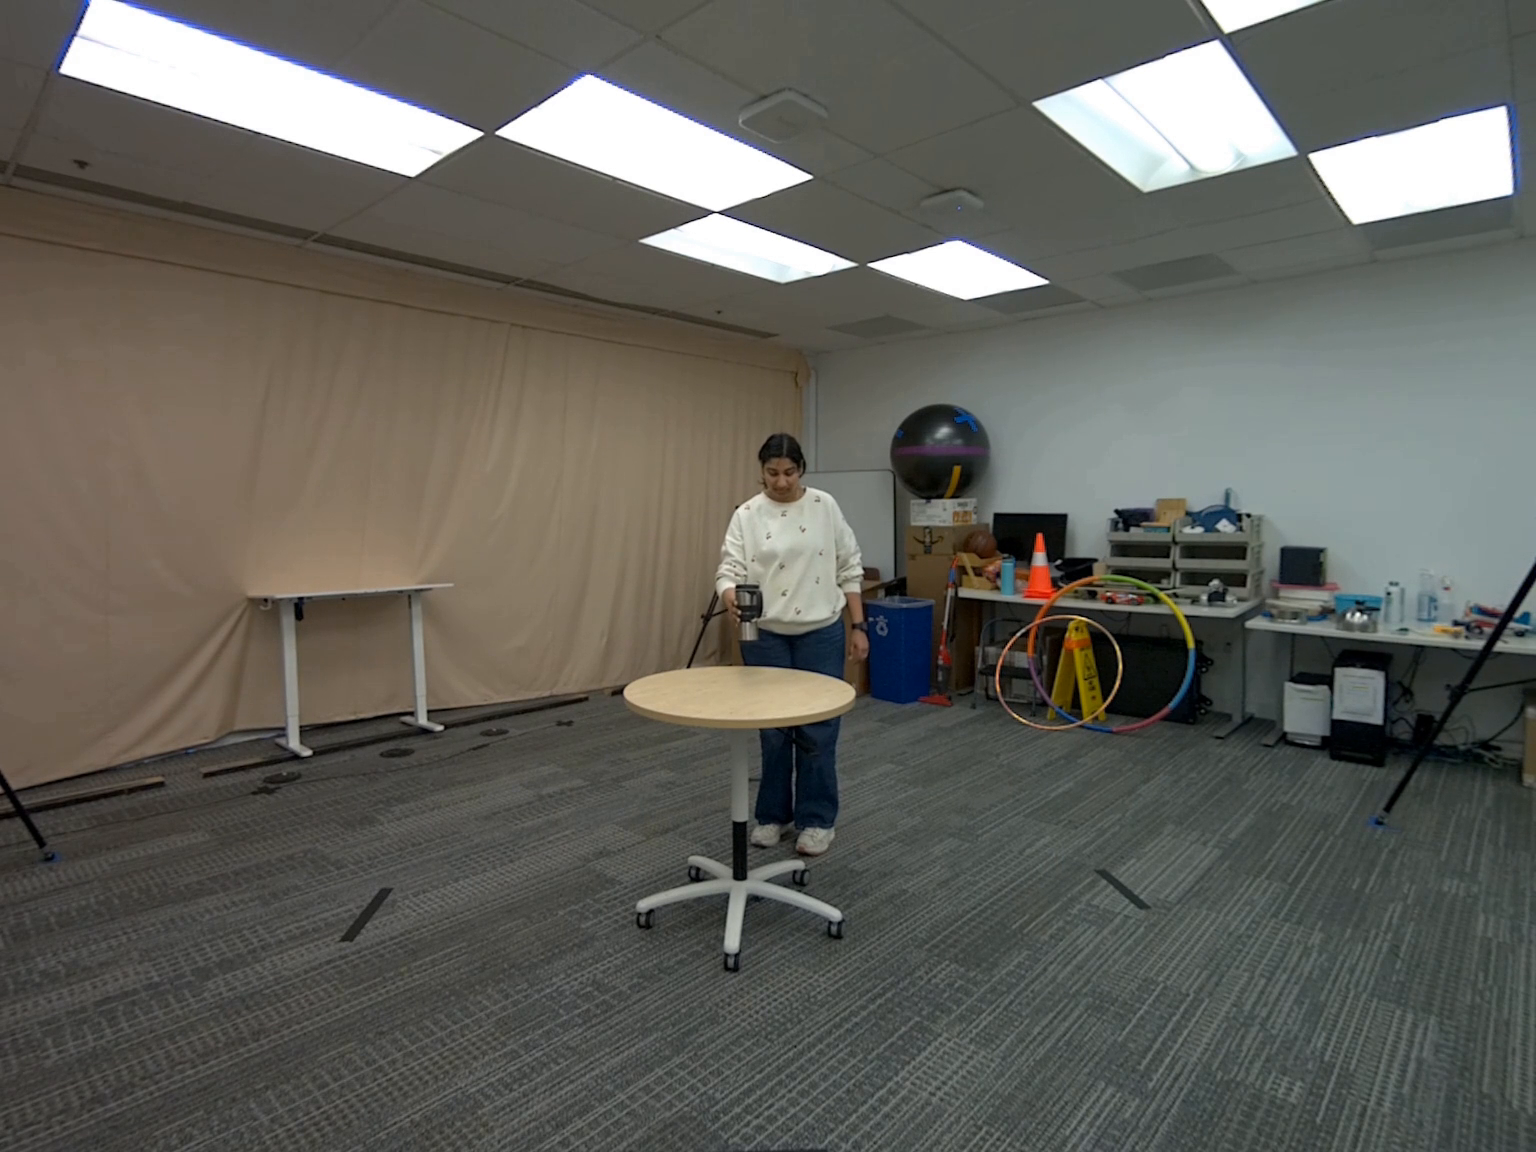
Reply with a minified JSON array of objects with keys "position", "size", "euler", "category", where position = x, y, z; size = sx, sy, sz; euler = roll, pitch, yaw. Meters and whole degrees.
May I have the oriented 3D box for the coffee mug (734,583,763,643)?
[{"position":[-0.064,0.132,2.923],"size":[0.087,0.203,0.123],"euler":[4,-4,-13],"category":"coffee mug"}]
